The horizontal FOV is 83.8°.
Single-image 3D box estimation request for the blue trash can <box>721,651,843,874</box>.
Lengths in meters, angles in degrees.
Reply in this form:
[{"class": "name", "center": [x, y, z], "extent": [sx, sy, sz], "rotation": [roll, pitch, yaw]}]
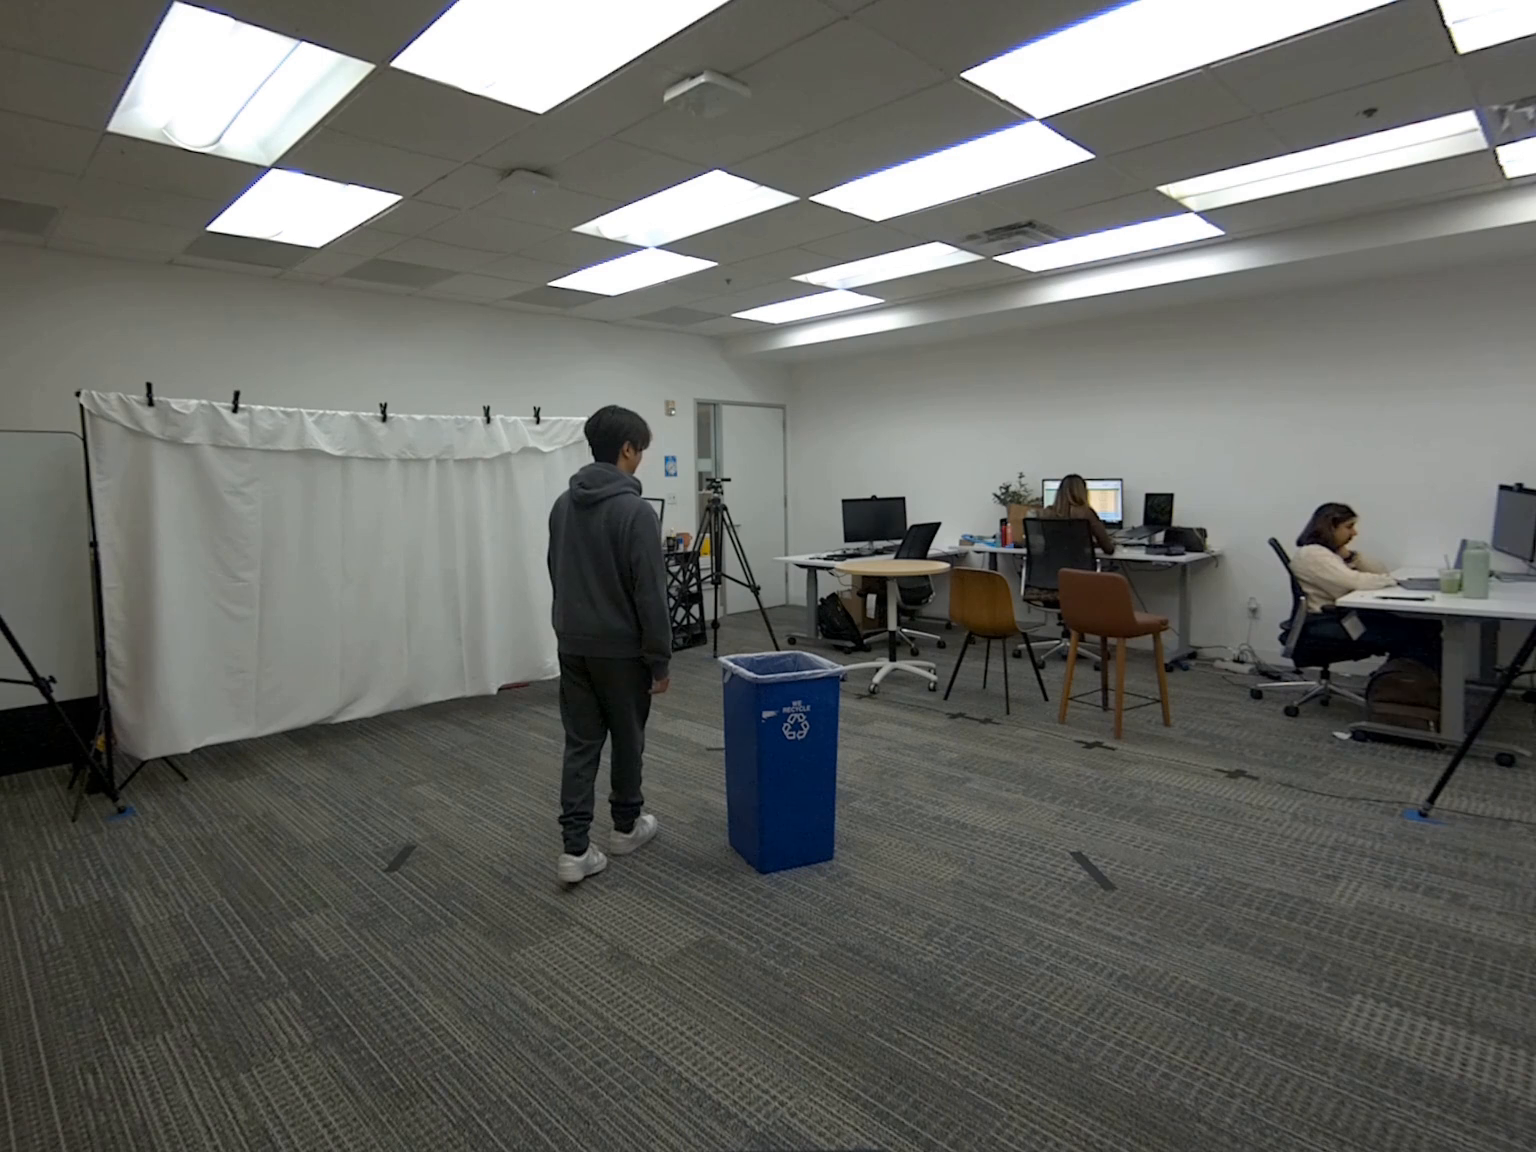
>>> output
[{"class": "blue trash can", "center": [0.047, 0.671, 3.183], "extent": [0.366, 0.711, 0.387], "rotation": [-3, 5, -24]}]
